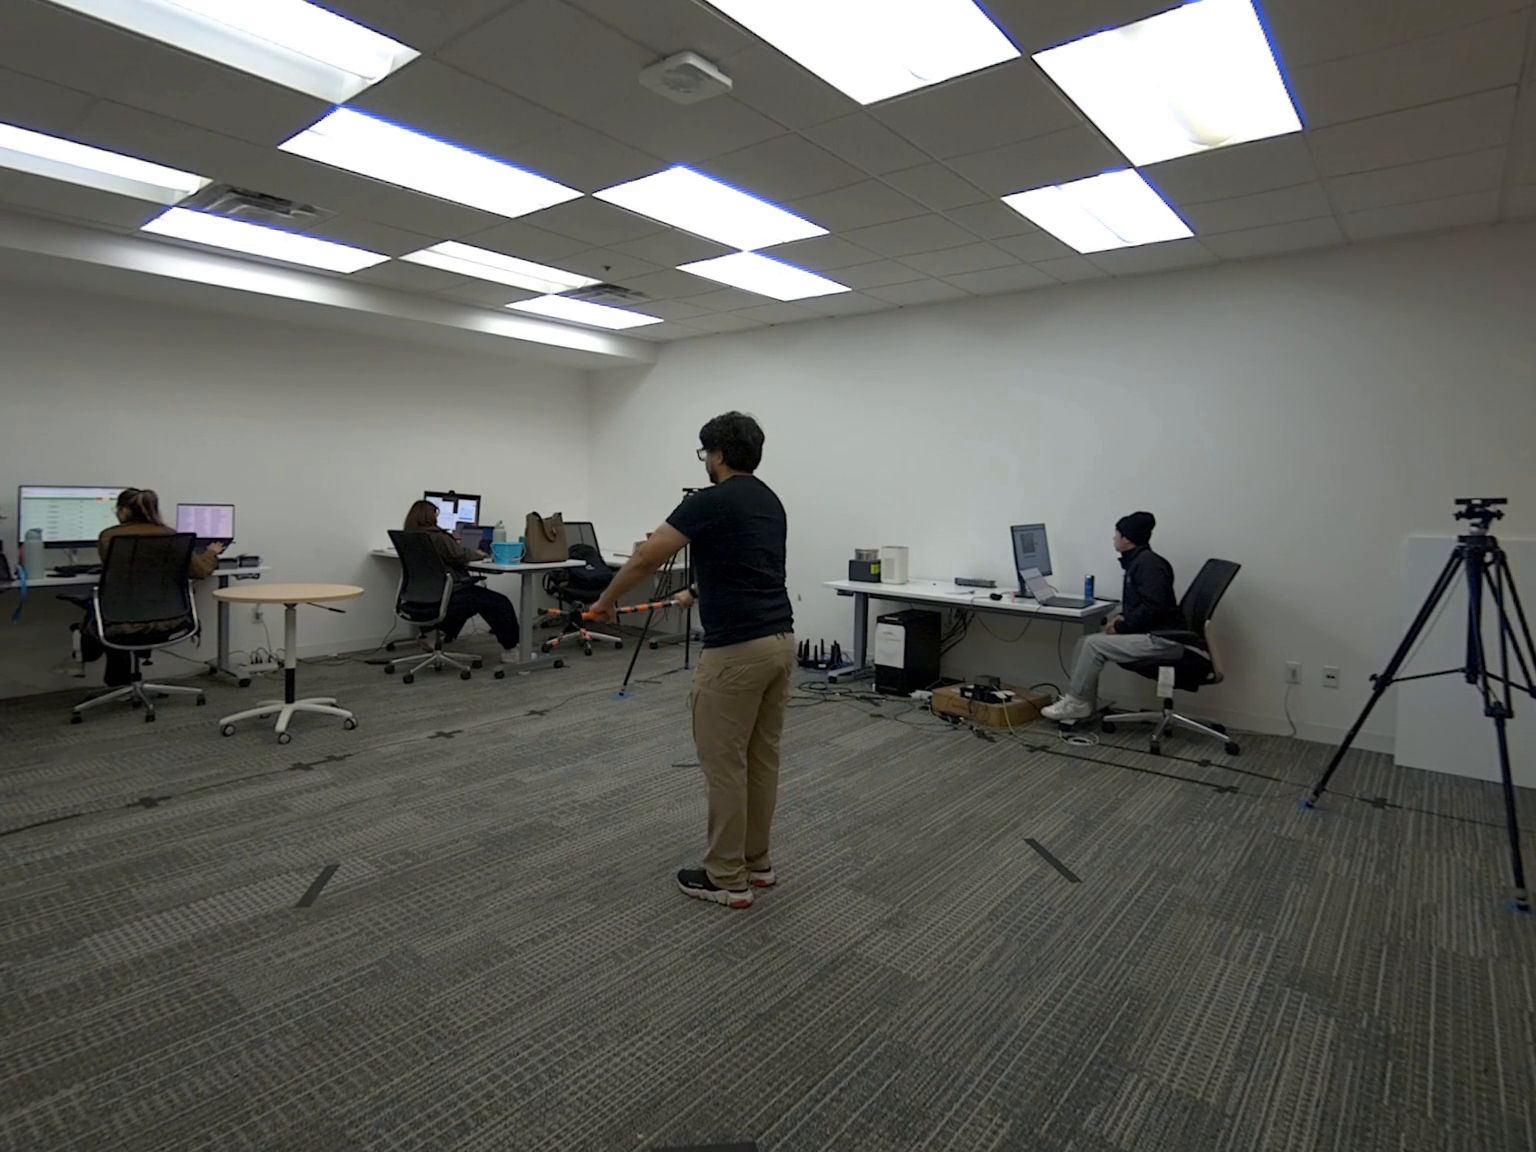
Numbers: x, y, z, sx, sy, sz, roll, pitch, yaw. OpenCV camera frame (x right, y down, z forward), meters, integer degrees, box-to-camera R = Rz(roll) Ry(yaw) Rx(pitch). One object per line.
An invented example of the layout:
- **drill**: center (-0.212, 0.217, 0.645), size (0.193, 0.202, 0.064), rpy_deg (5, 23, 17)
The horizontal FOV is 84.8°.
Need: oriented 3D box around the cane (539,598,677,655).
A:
- **cane**: center (-0.461, 0.125, 3.258), size (0.211, 0.152, 0.884), rpy_deg (-11, 0, 37)
